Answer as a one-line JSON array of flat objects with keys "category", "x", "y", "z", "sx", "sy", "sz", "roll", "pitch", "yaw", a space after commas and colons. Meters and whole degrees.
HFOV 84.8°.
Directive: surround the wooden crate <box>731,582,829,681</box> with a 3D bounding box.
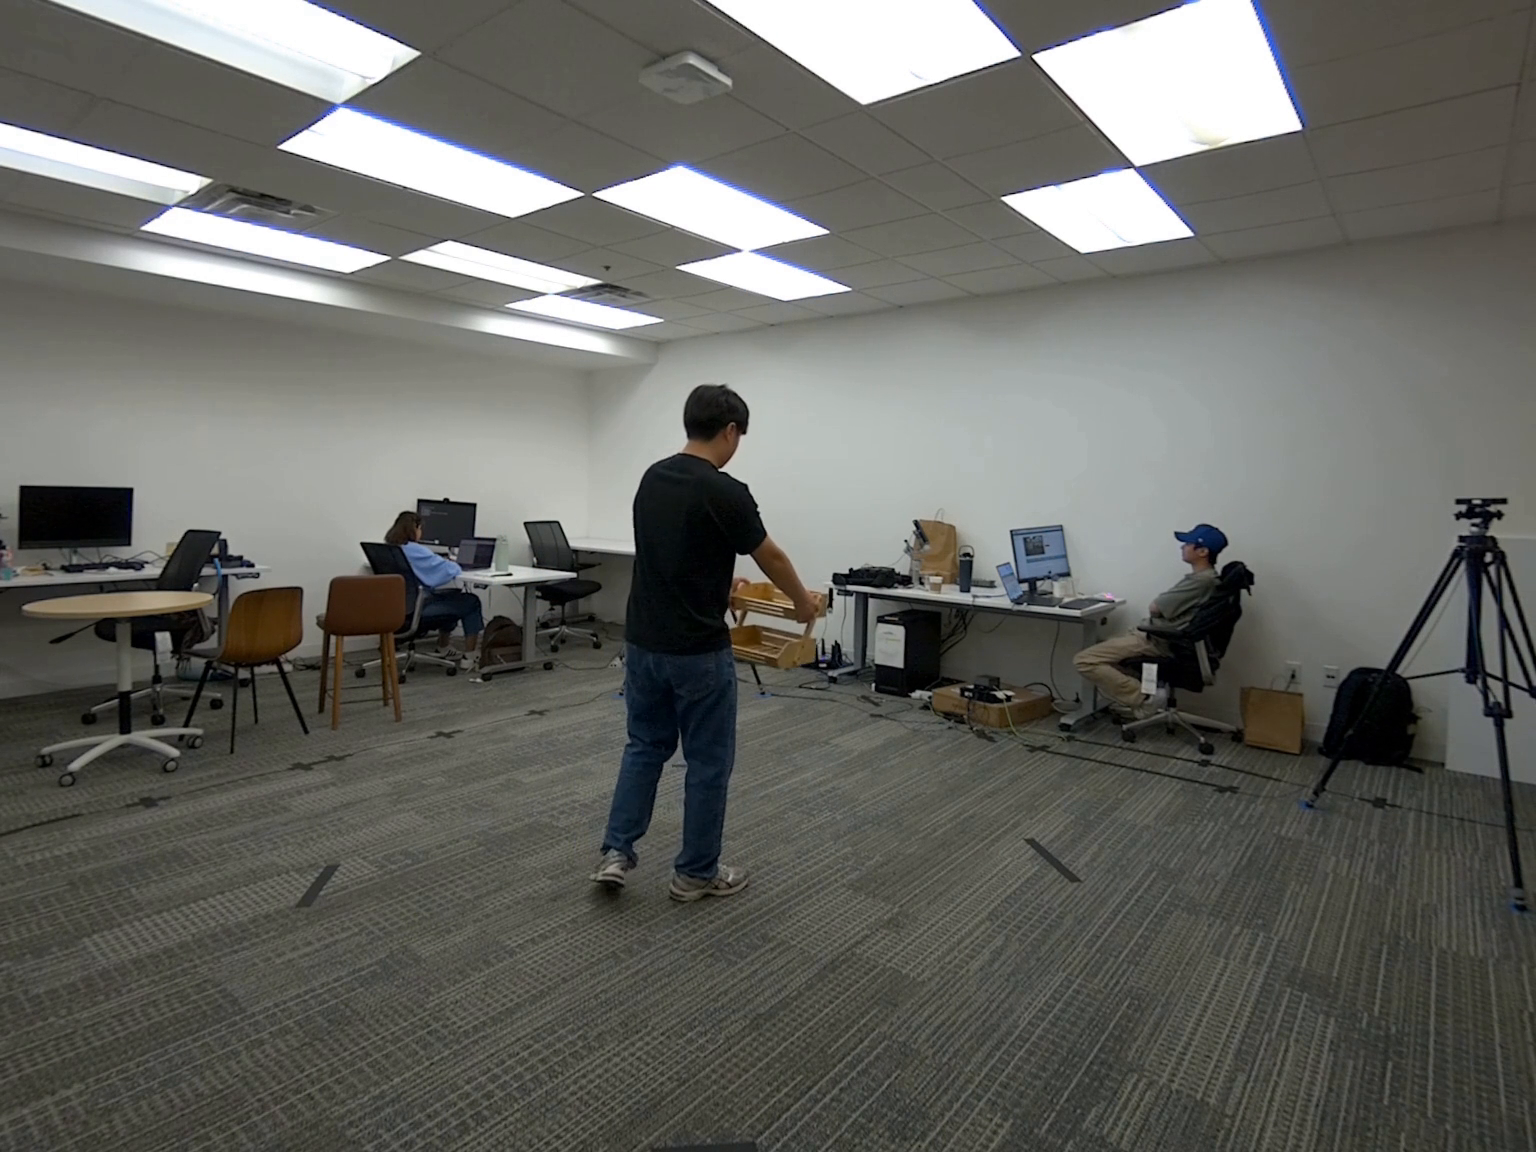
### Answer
[{"category": "wooden crate", "x": -0.008, "y": 0.180, "z": 3.243, "sx": 0.336, "sy": 0.272, "sz": 0.293, "roll": 9, "pitch": 8, "yaw": 38}]
